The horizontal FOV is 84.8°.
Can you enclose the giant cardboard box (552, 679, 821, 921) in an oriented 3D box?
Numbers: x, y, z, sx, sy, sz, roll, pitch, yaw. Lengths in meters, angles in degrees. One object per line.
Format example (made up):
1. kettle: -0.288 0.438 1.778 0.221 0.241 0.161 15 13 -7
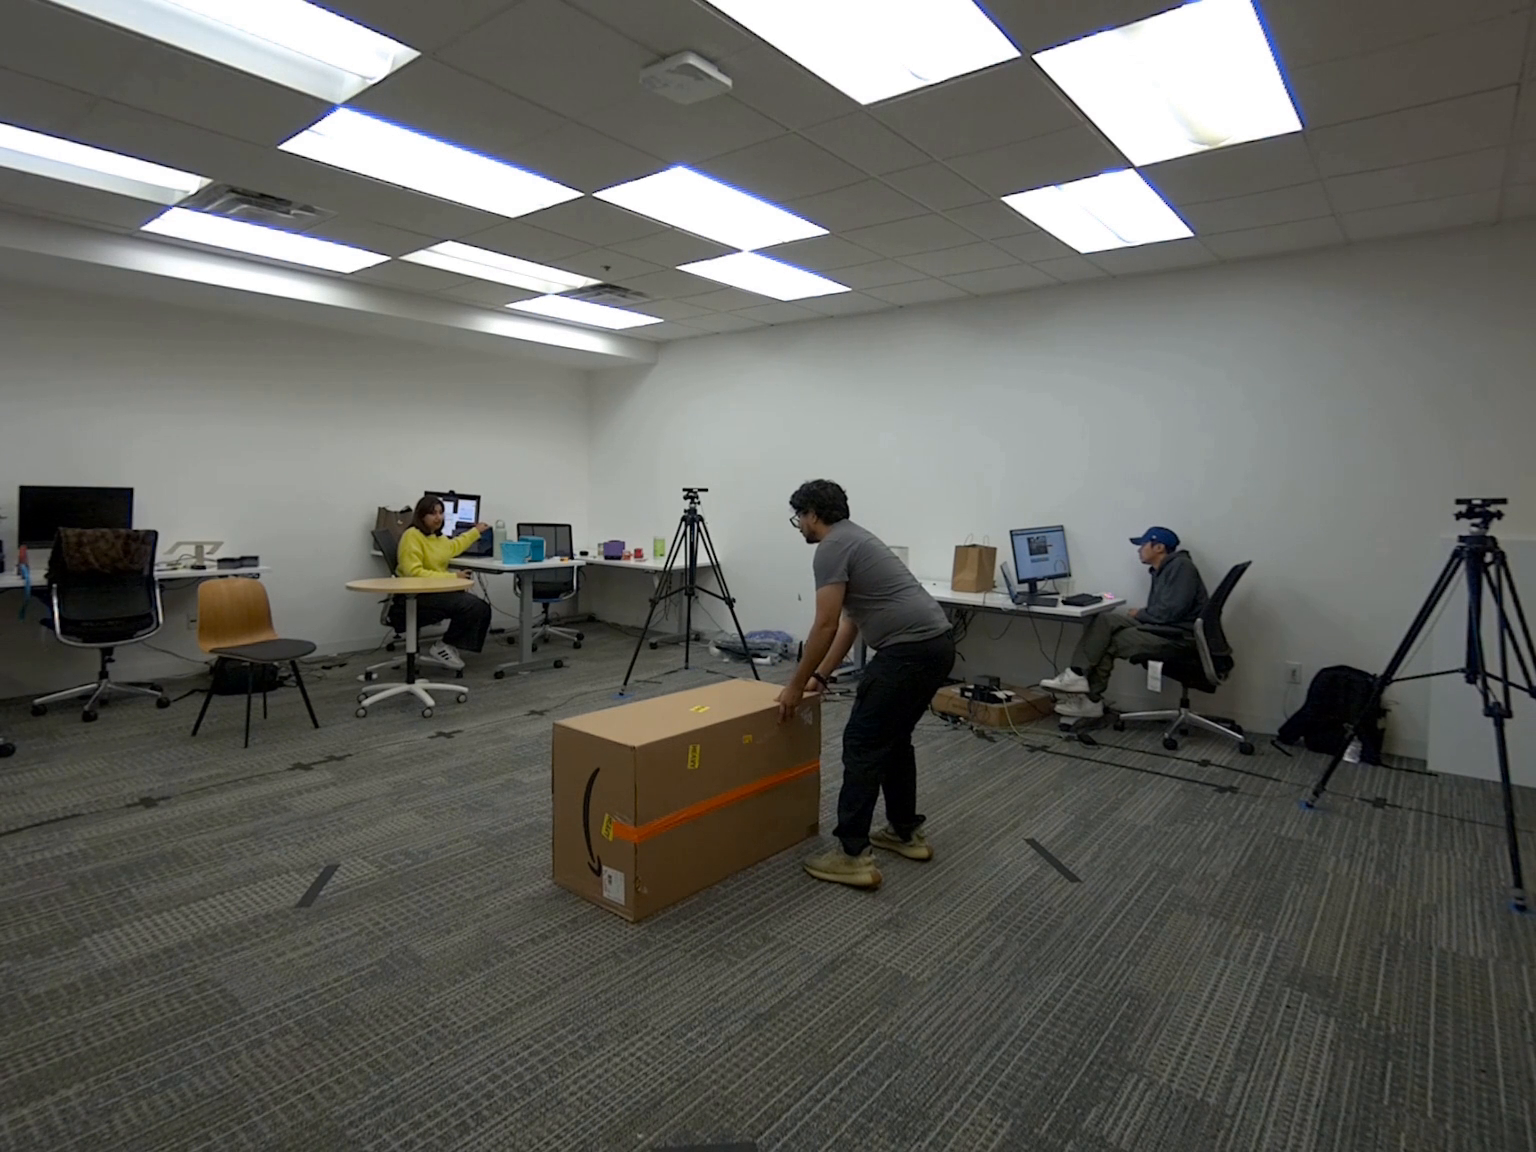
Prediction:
1. giant cardboard box: -0.283 0.774 3.205 0.440 0.576 0.995 3 5 40
